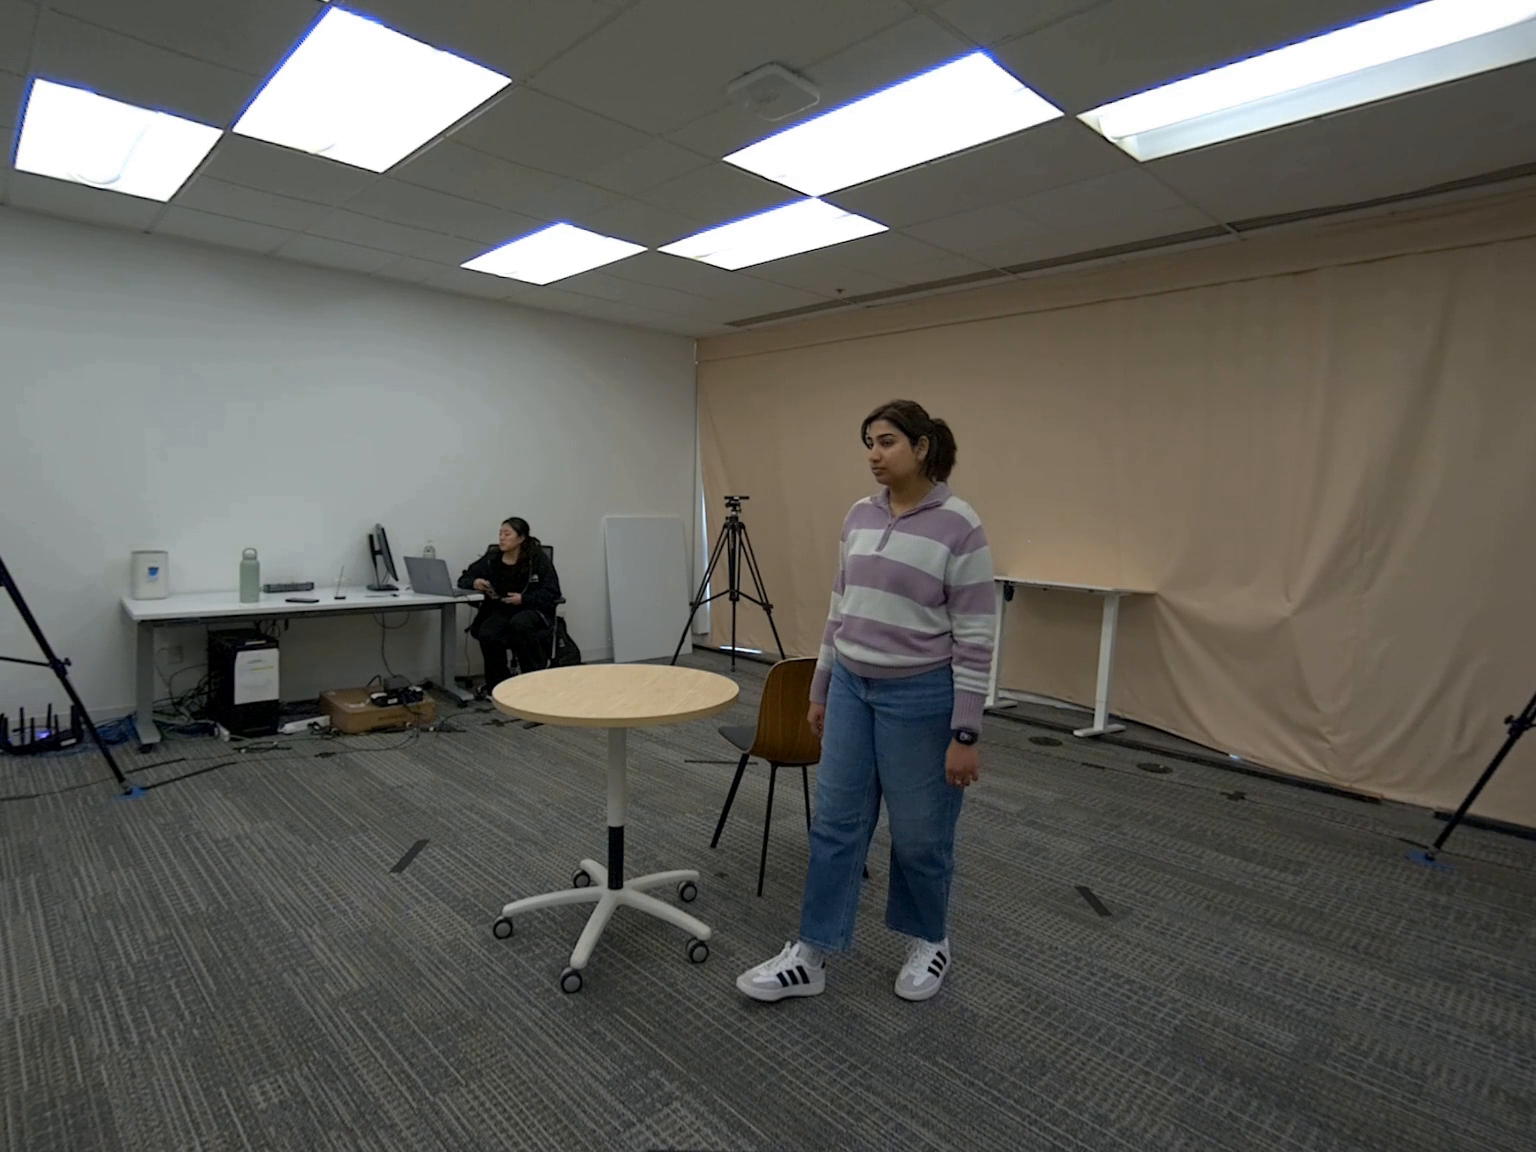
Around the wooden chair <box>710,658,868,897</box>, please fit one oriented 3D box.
[{"bbox_3d":[0.072,0.673,3.205,0.470,0.873,0.535,0,8,-24],"label":"wooden chair"}]
